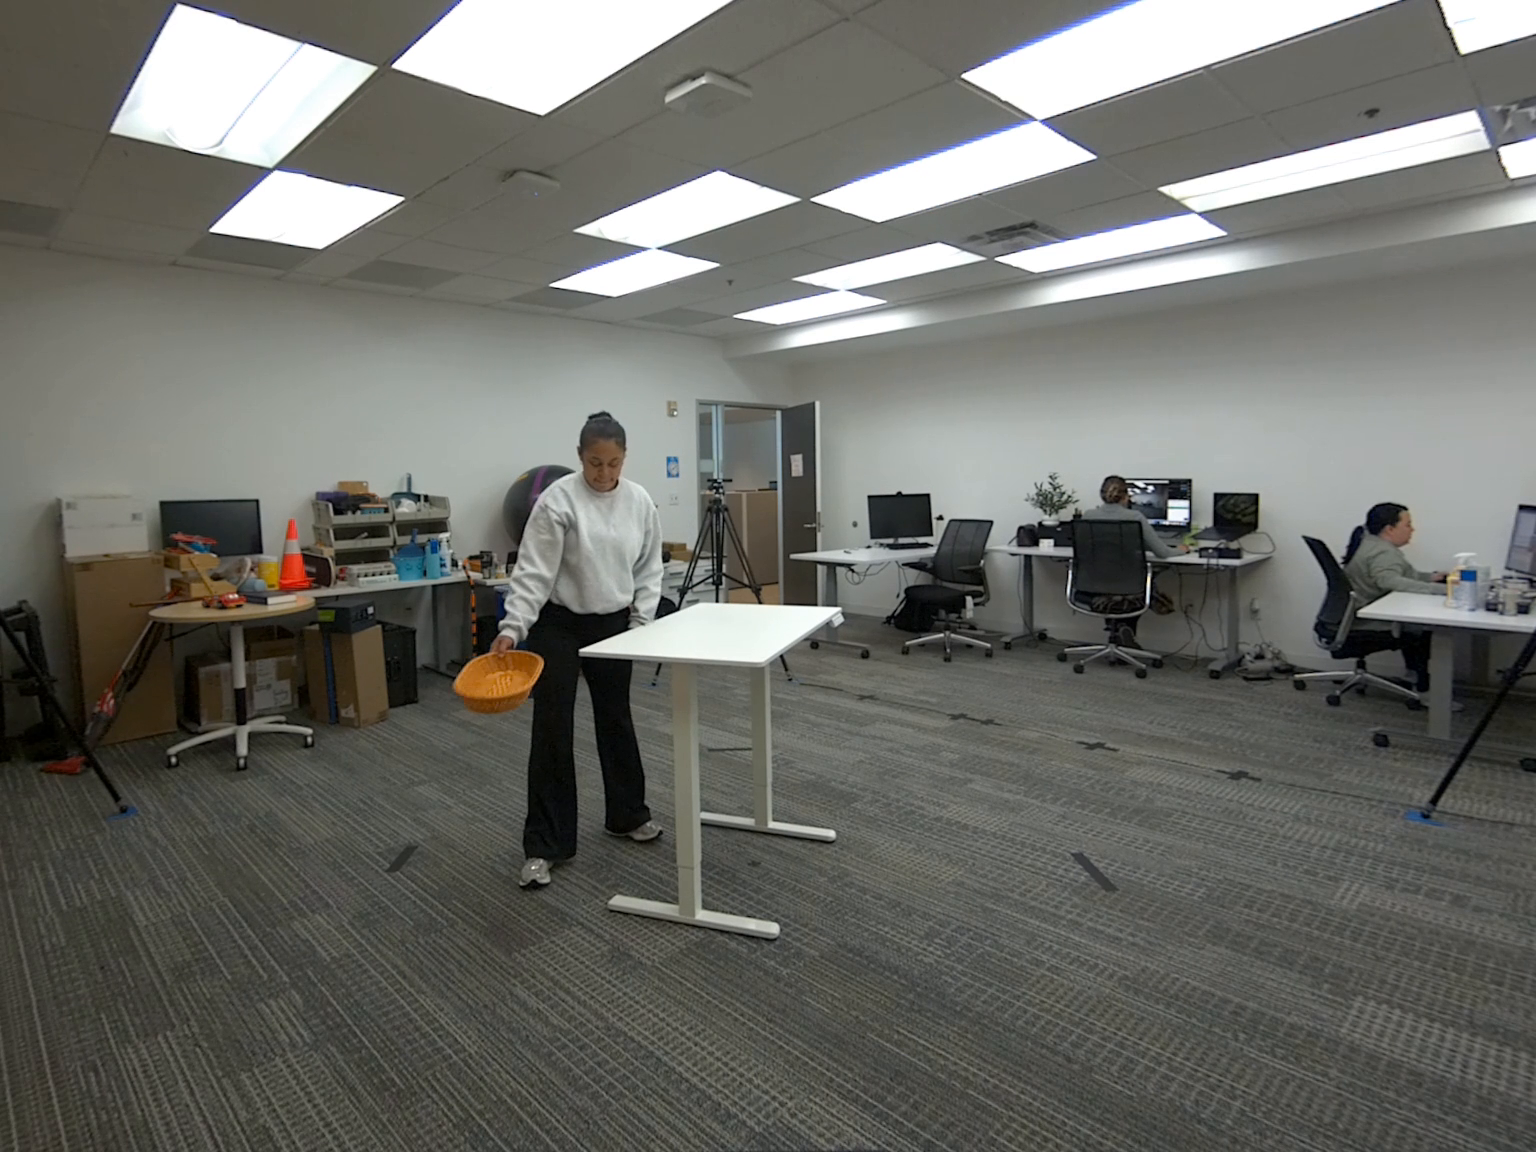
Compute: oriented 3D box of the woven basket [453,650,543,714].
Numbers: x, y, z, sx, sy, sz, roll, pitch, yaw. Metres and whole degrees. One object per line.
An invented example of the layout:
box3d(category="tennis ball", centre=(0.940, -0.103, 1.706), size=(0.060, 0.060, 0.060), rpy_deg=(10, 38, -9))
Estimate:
box3d(category="woven basket", centre=(-0.812, 0.334, 2.653), size=(0.252, 0.072, 0.357), rpy_deg=(-2, 18, -4))
